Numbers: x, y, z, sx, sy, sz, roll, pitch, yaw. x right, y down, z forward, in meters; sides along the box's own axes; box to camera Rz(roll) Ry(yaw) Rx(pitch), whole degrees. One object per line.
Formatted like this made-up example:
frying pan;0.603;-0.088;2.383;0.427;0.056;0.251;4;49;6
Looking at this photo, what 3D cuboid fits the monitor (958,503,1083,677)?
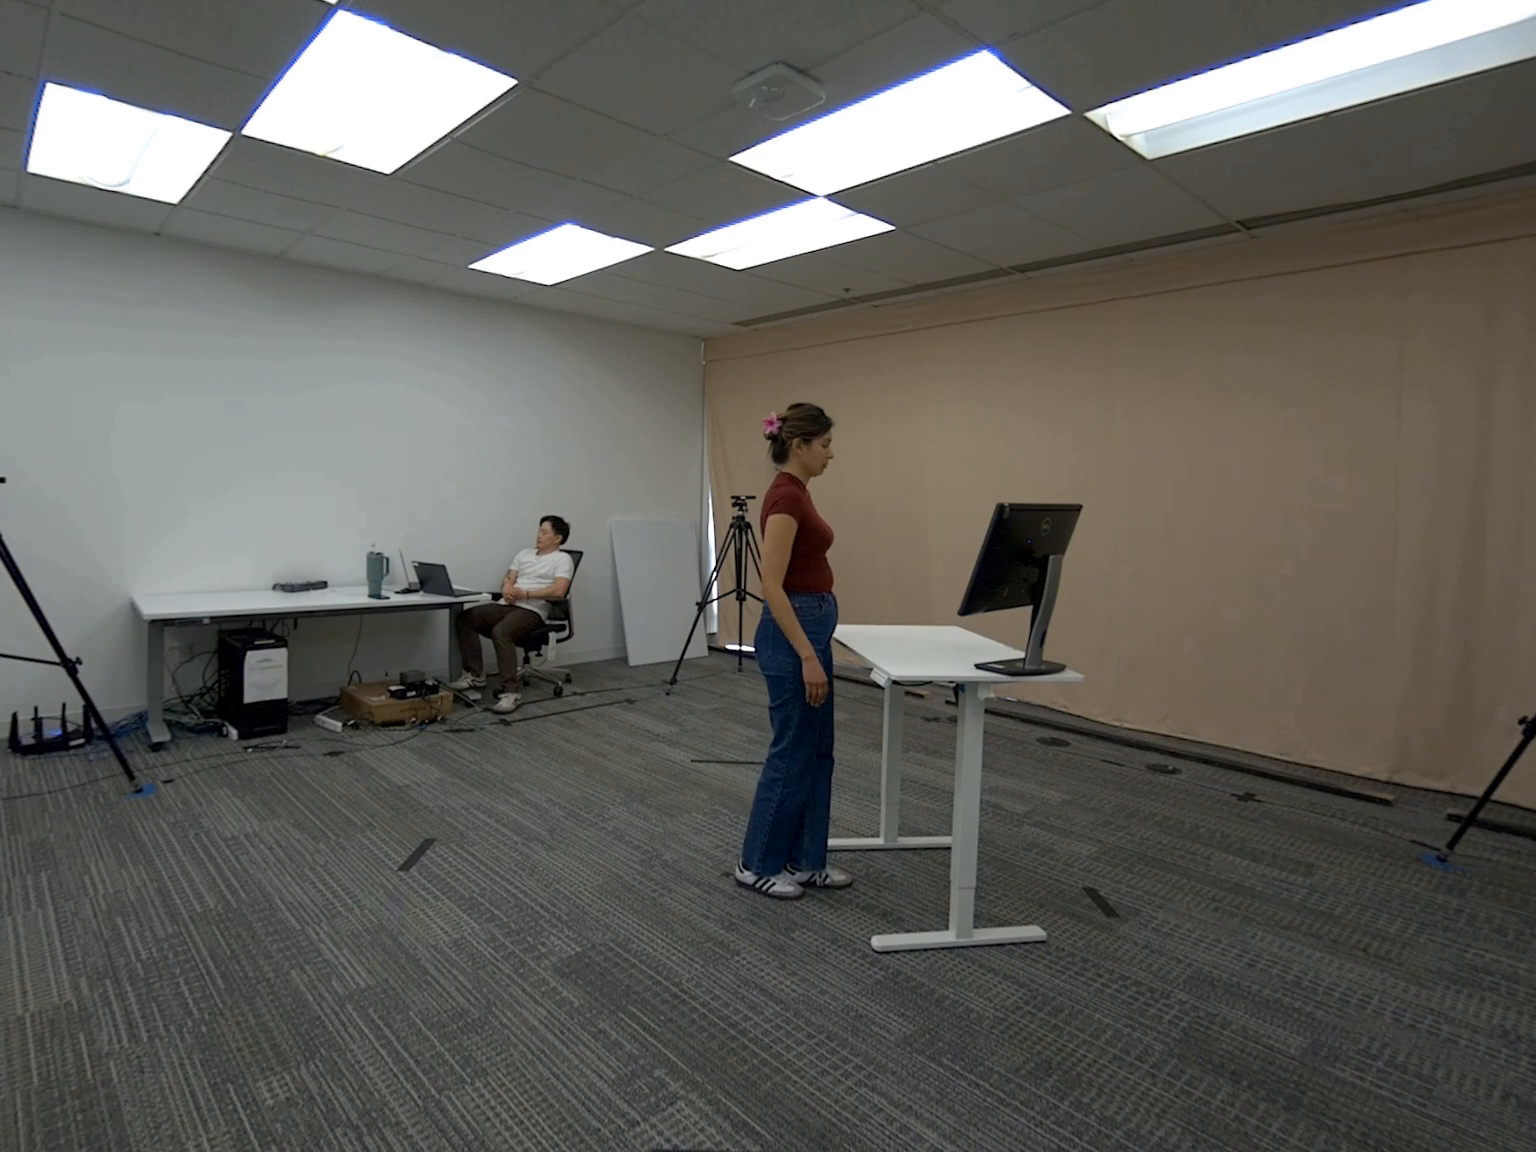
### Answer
monitor;0.798;0.035;2.584;0.192;0.521;0.527;7;7;40
